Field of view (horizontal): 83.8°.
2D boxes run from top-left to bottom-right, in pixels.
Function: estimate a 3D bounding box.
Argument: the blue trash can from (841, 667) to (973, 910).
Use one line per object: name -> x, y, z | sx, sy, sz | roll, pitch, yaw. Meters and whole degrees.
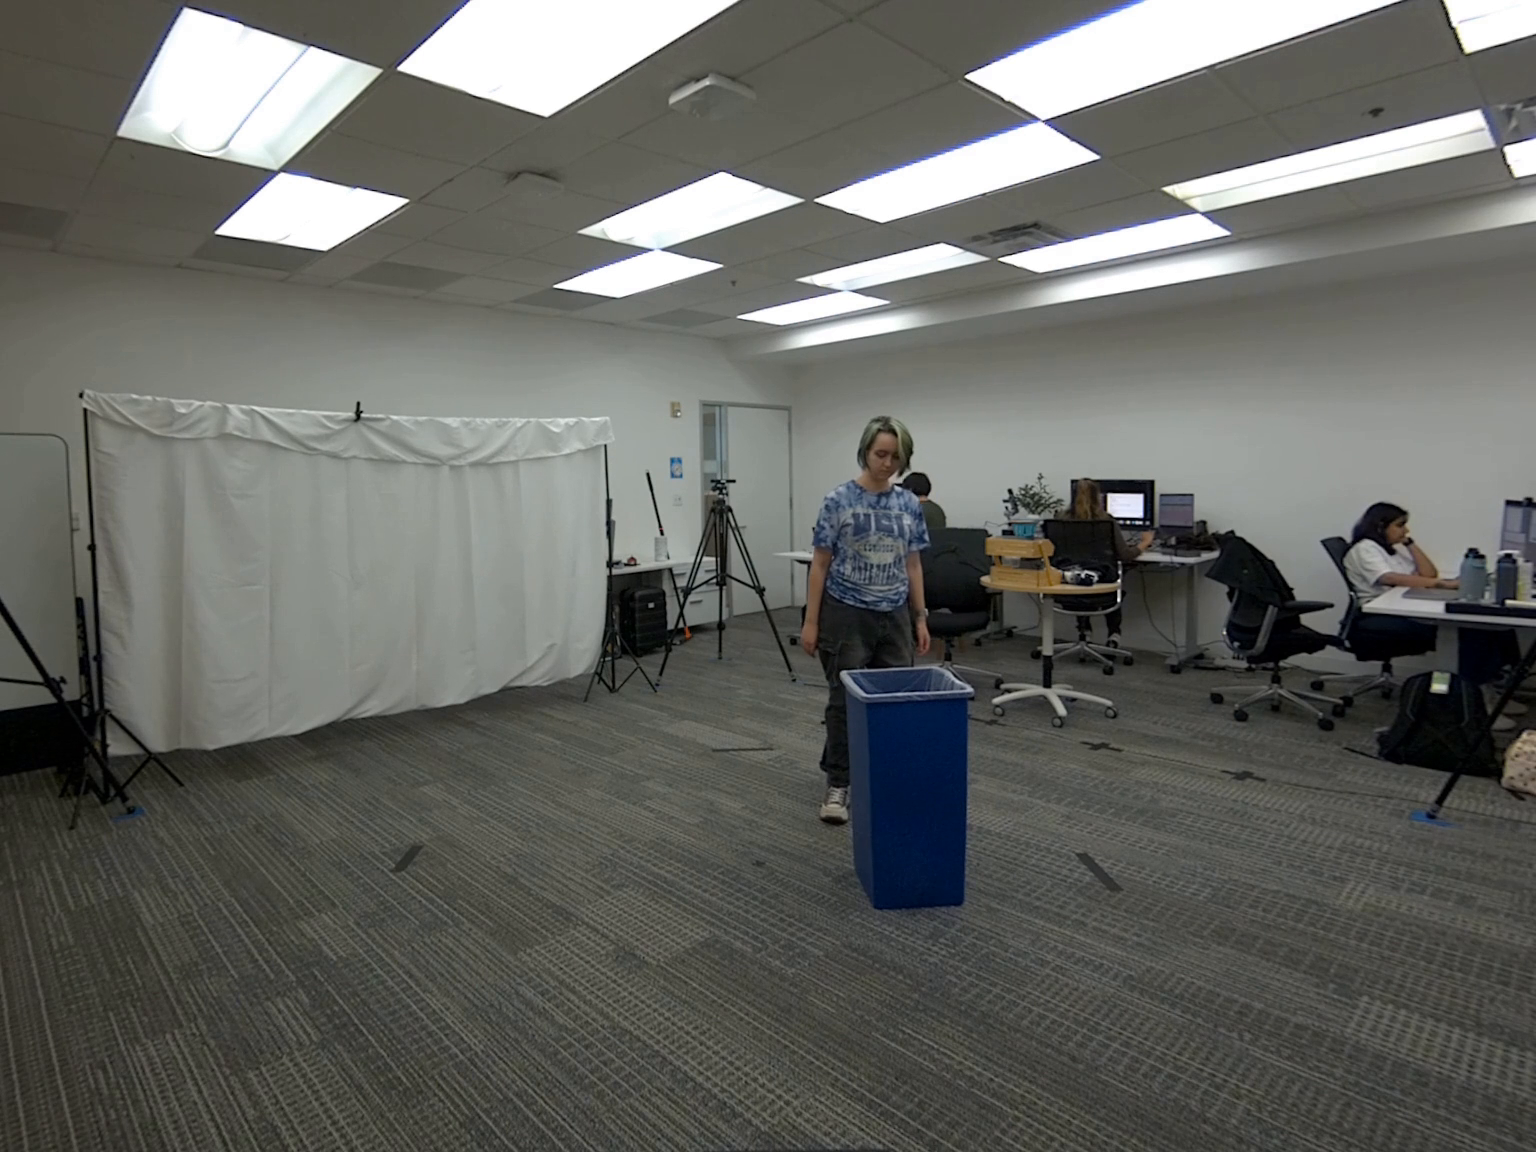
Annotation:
blue trash can -> 0.465, 0.708, 2.894 | 0.372, 0.711, 0.381 | -2, 4, -6
